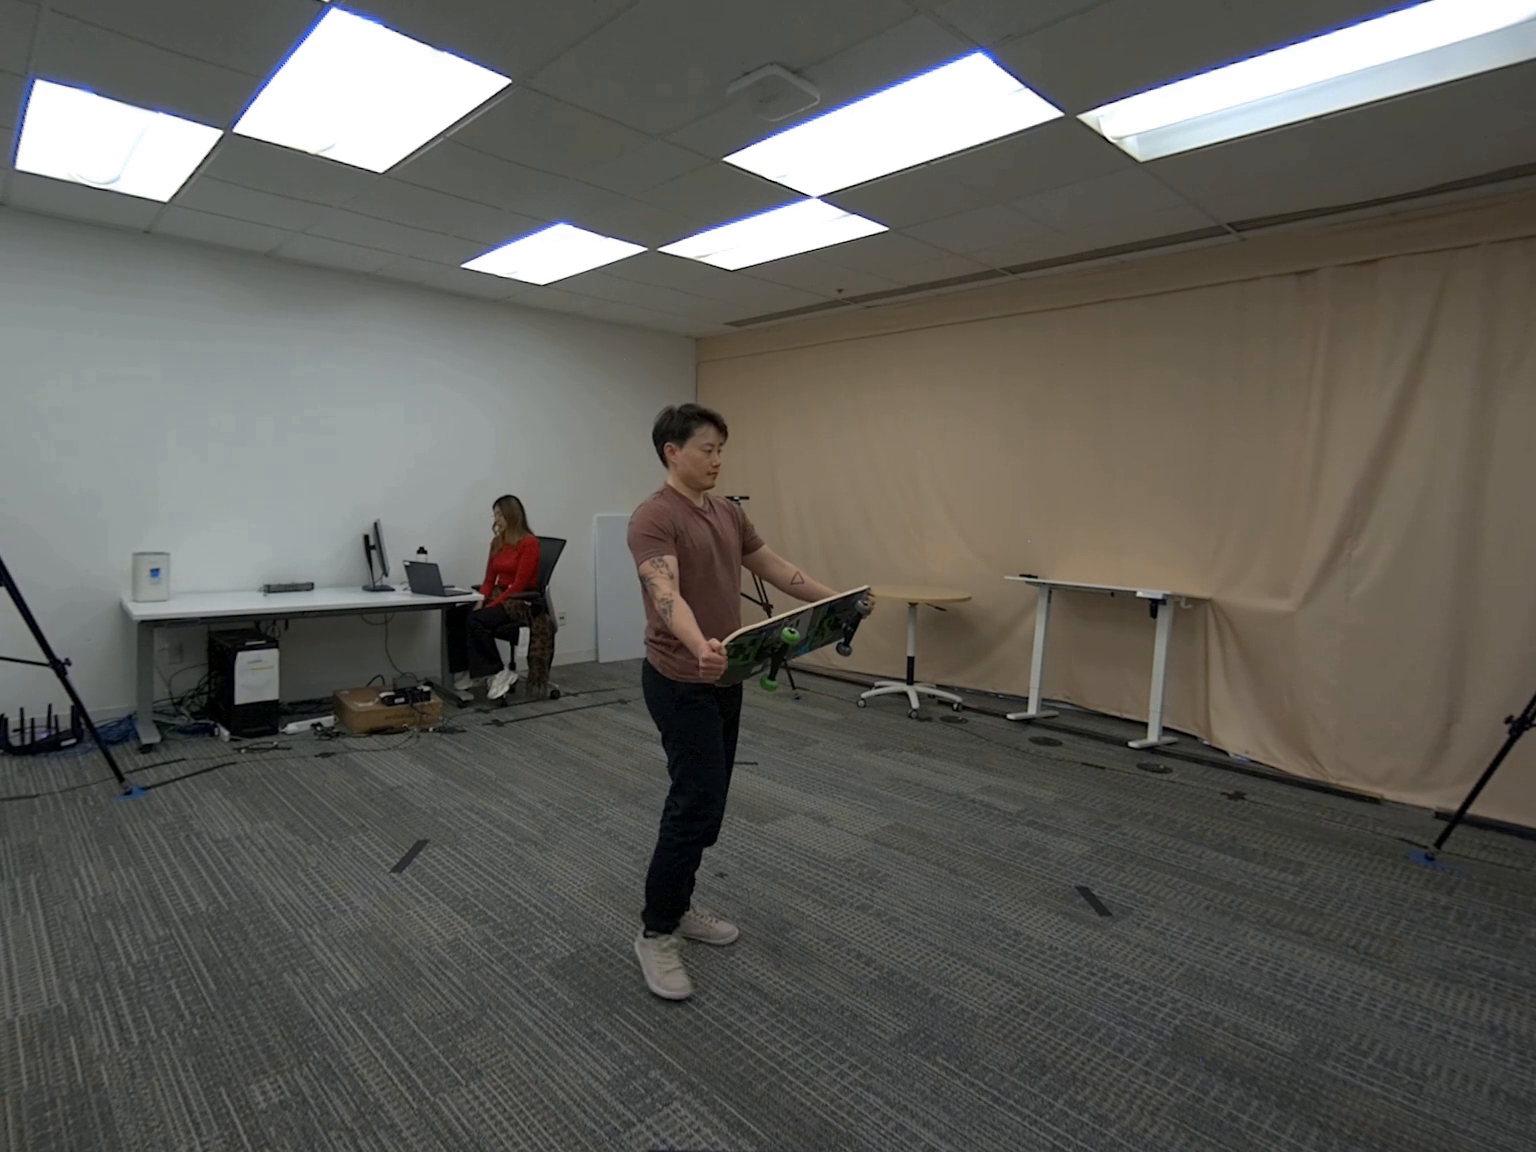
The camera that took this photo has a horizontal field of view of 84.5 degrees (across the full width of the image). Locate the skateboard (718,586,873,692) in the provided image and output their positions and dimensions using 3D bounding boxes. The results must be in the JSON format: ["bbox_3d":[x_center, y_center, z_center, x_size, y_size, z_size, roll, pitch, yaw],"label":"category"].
[{"bbox_3d":[0.106,0.168,2.397,0.113,0.191,0.773,32,28,24],"label":"skateboard"}]
